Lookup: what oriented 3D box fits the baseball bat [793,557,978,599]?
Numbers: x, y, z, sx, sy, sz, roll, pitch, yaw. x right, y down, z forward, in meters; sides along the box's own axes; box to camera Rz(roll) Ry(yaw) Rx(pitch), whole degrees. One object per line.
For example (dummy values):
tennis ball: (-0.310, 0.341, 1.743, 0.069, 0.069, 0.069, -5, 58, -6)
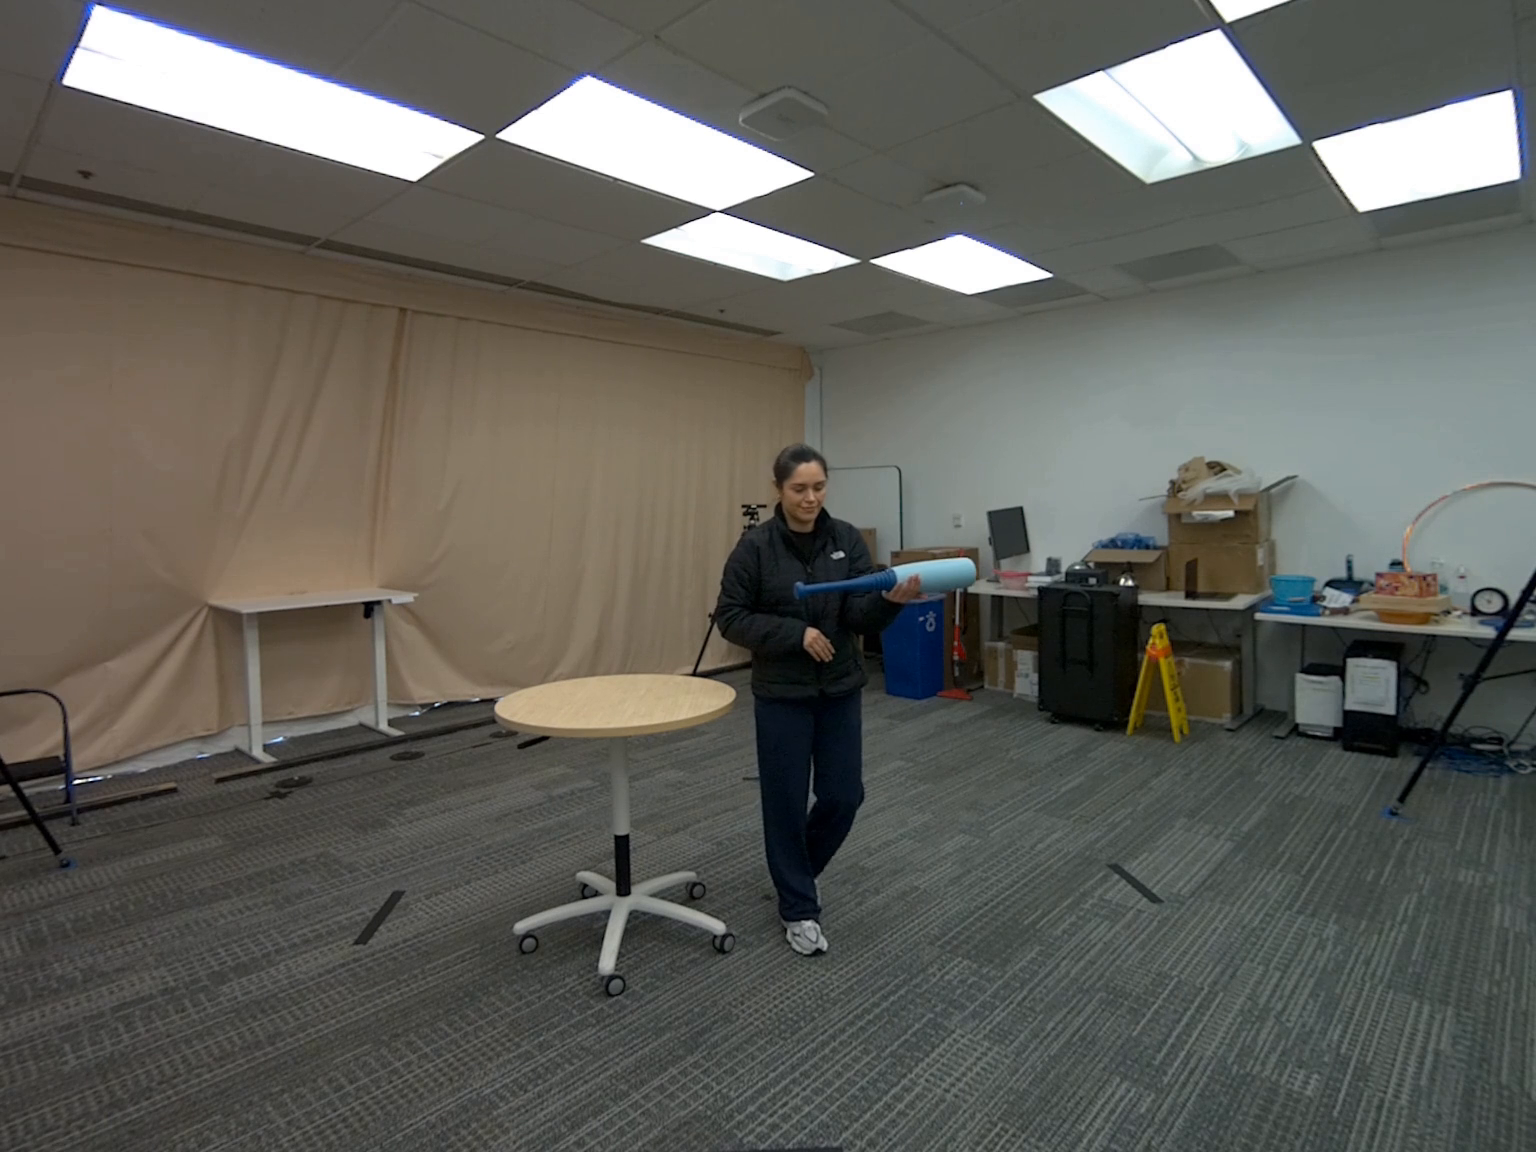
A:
baseball bat: (0.343, 0.015, 2.395, 0.537, 0.089, 0.090, -5, 5, -11)
